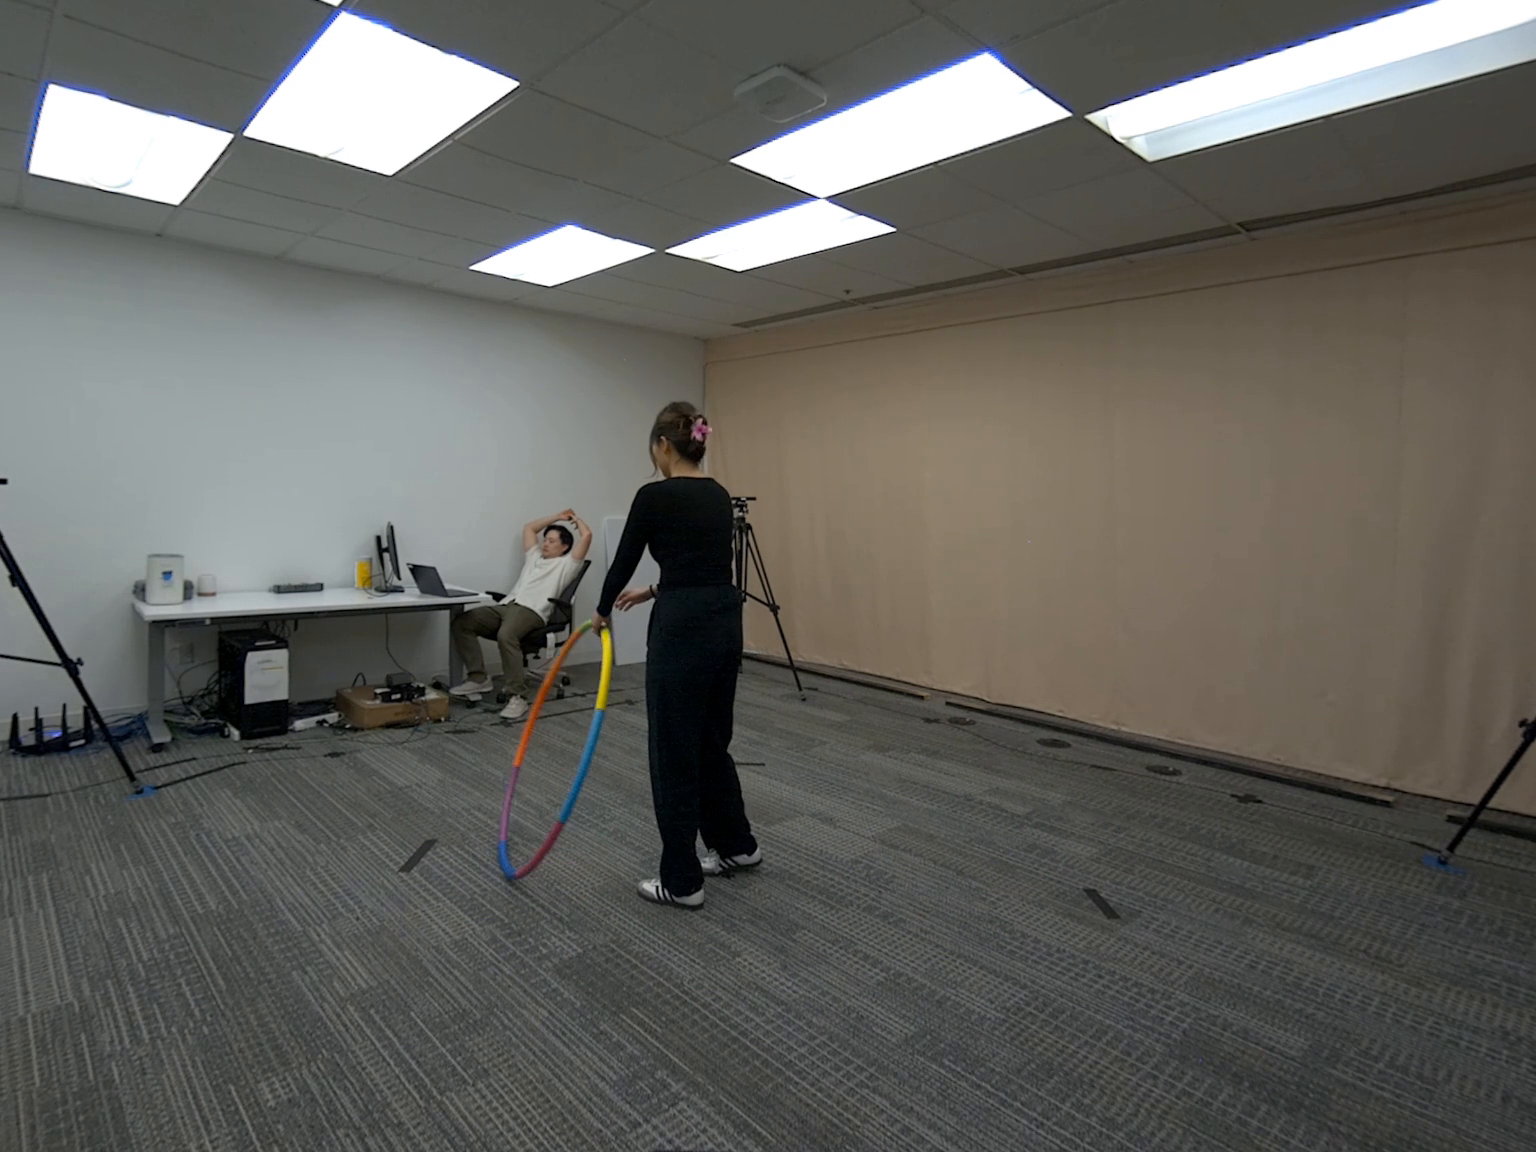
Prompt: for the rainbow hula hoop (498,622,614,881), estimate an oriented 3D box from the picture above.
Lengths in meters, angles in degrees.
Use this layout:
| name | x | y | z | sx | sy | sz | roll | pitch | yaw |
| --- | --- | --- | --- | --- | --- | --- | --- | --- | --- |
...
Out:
| name | x | y | z | sx | sy | sz | roll | pitch | yaw |
| --- | --- | --- | --- | --- | --- | --- | --- | --- | --- |
| rainbow hula hoop | -0.827 | 0.630 | 3.167 | 0.035 | 0.980 | 0.997 | 23 | -4 | -23 |
